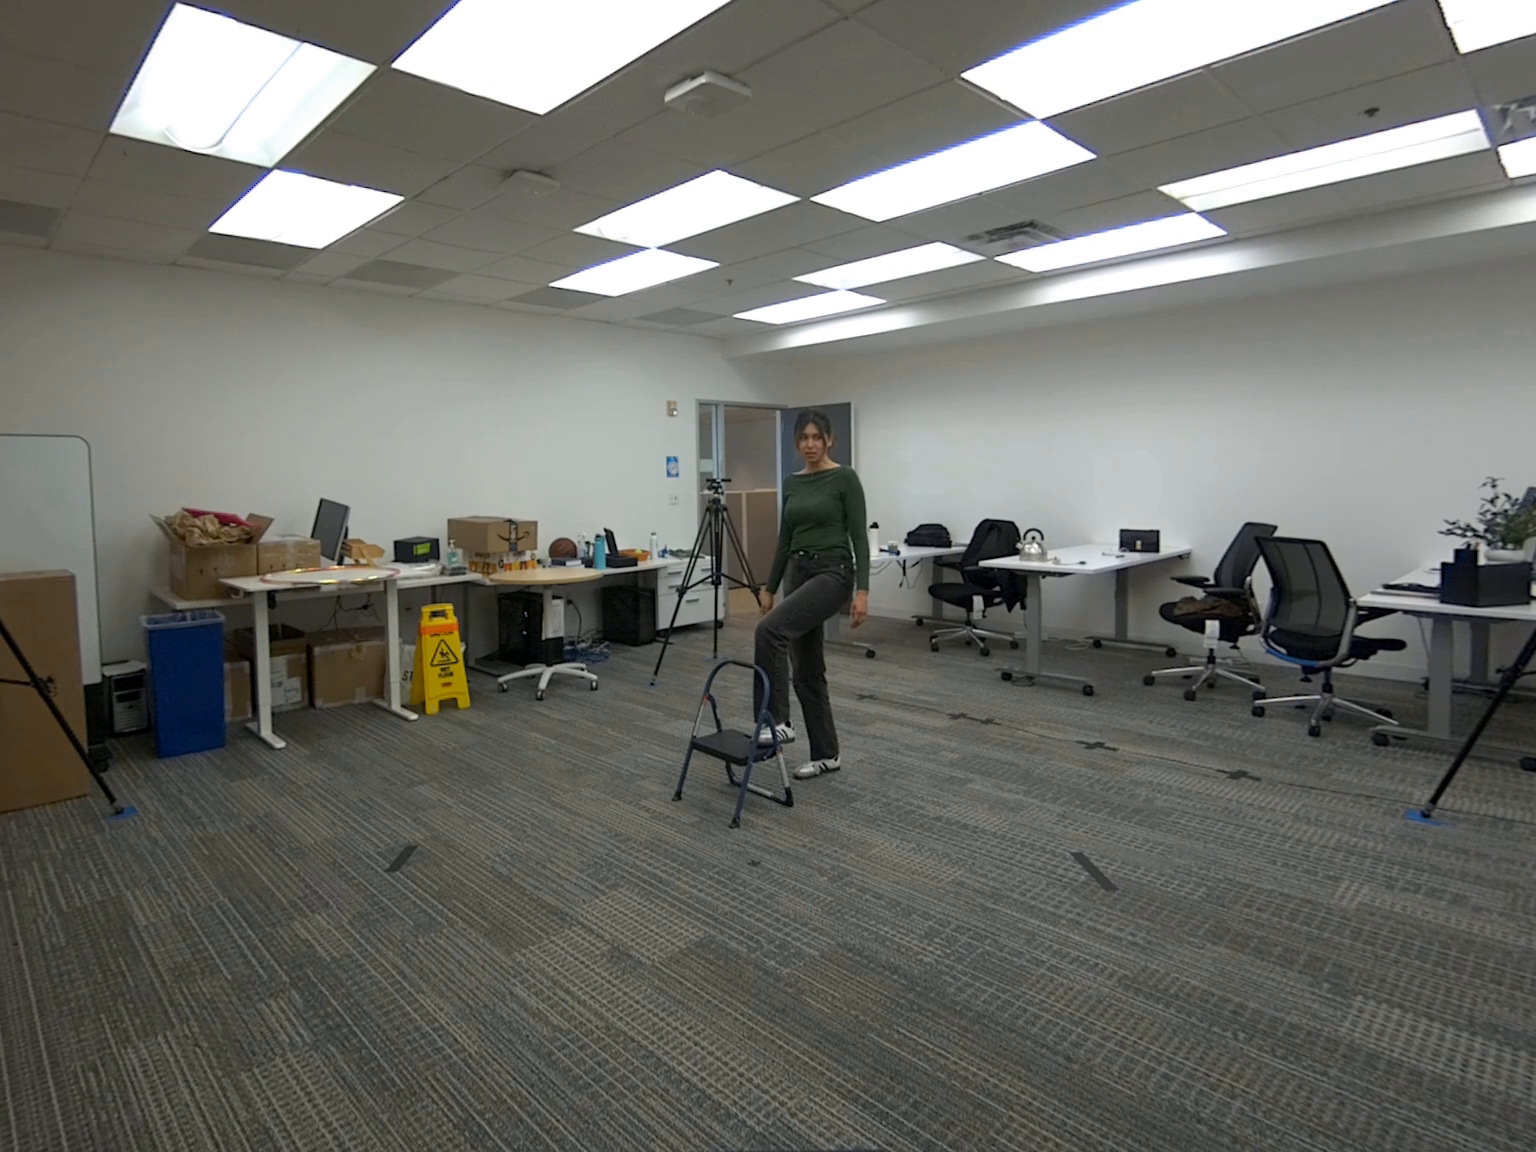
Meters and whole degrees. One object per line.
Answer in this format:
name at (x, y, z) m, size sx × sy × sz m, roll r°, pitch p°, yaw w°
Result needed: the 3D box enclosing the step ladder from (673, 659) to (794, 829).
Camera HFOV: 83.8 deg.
step ladder at (-0.159, 0.679, 3.667) m, size 0.340 × 0.604 × 0.444 m, roll -4°, pitch 6°, yaw -41°
